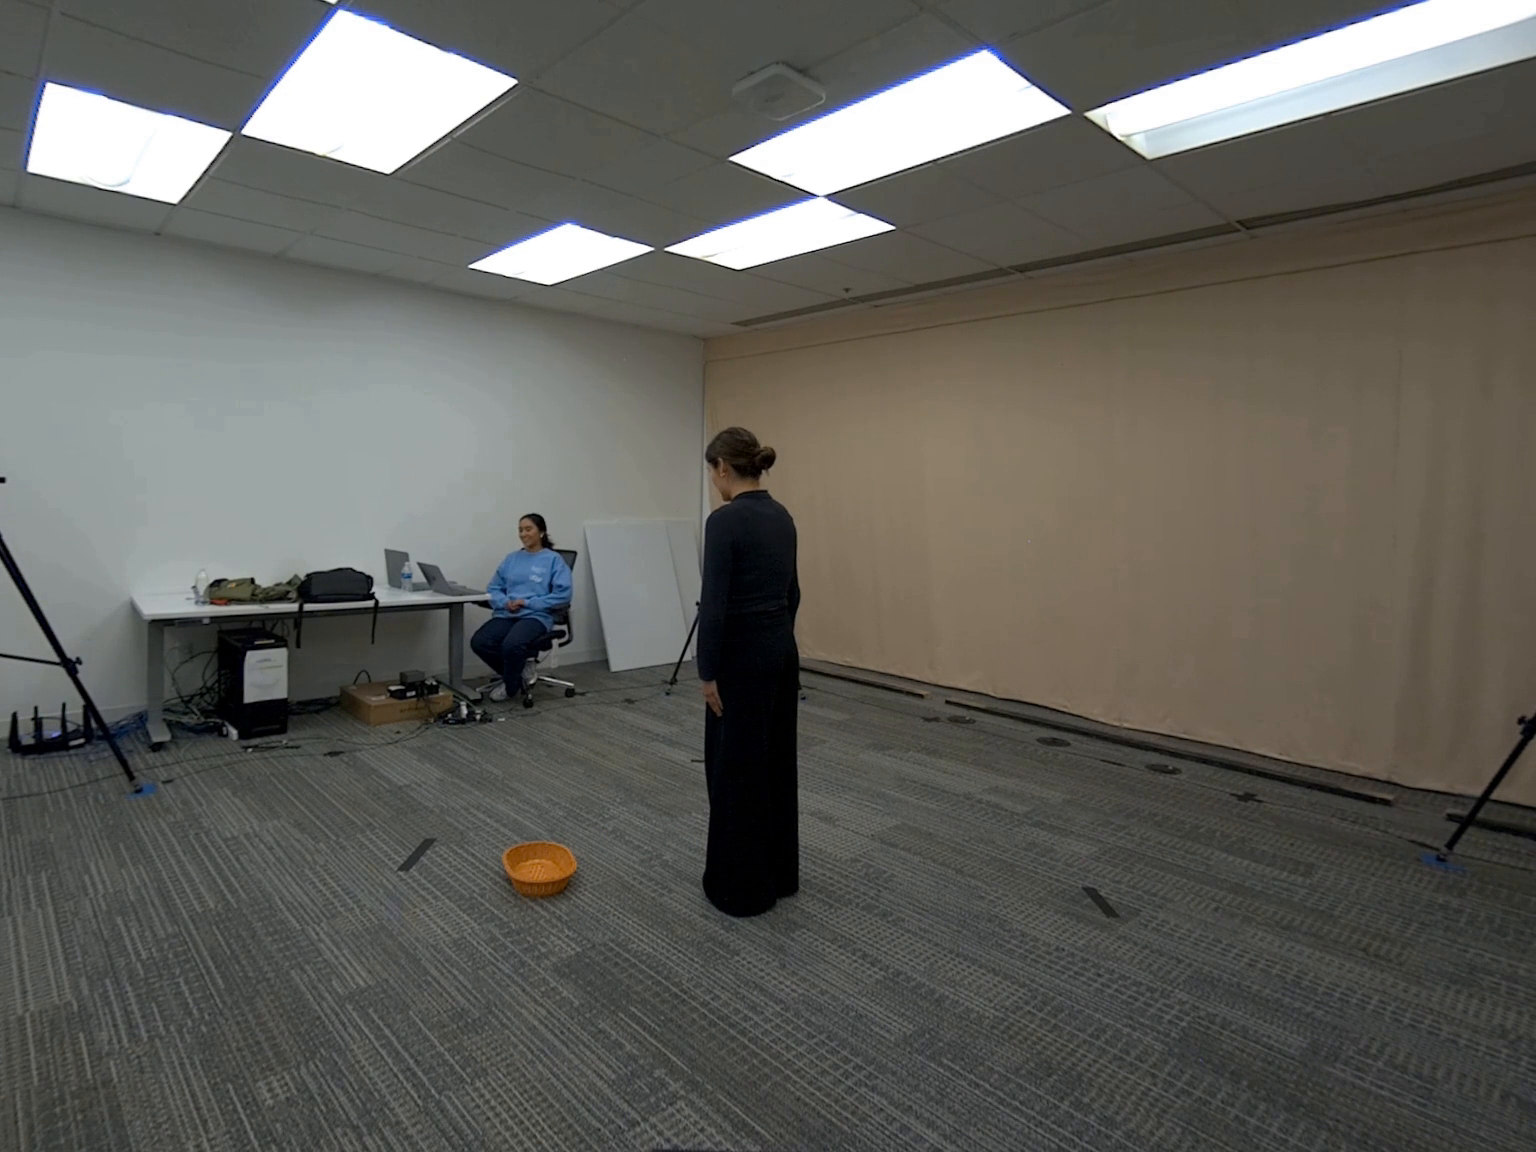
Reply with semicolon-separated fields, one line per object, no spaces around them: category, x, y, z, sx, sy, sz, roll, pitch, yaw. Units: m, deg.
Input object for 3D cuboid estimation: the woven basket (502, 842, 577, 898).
woven basket;-0.824;1.050;3.032;0.248;0.073;0.358;0;6;-25
